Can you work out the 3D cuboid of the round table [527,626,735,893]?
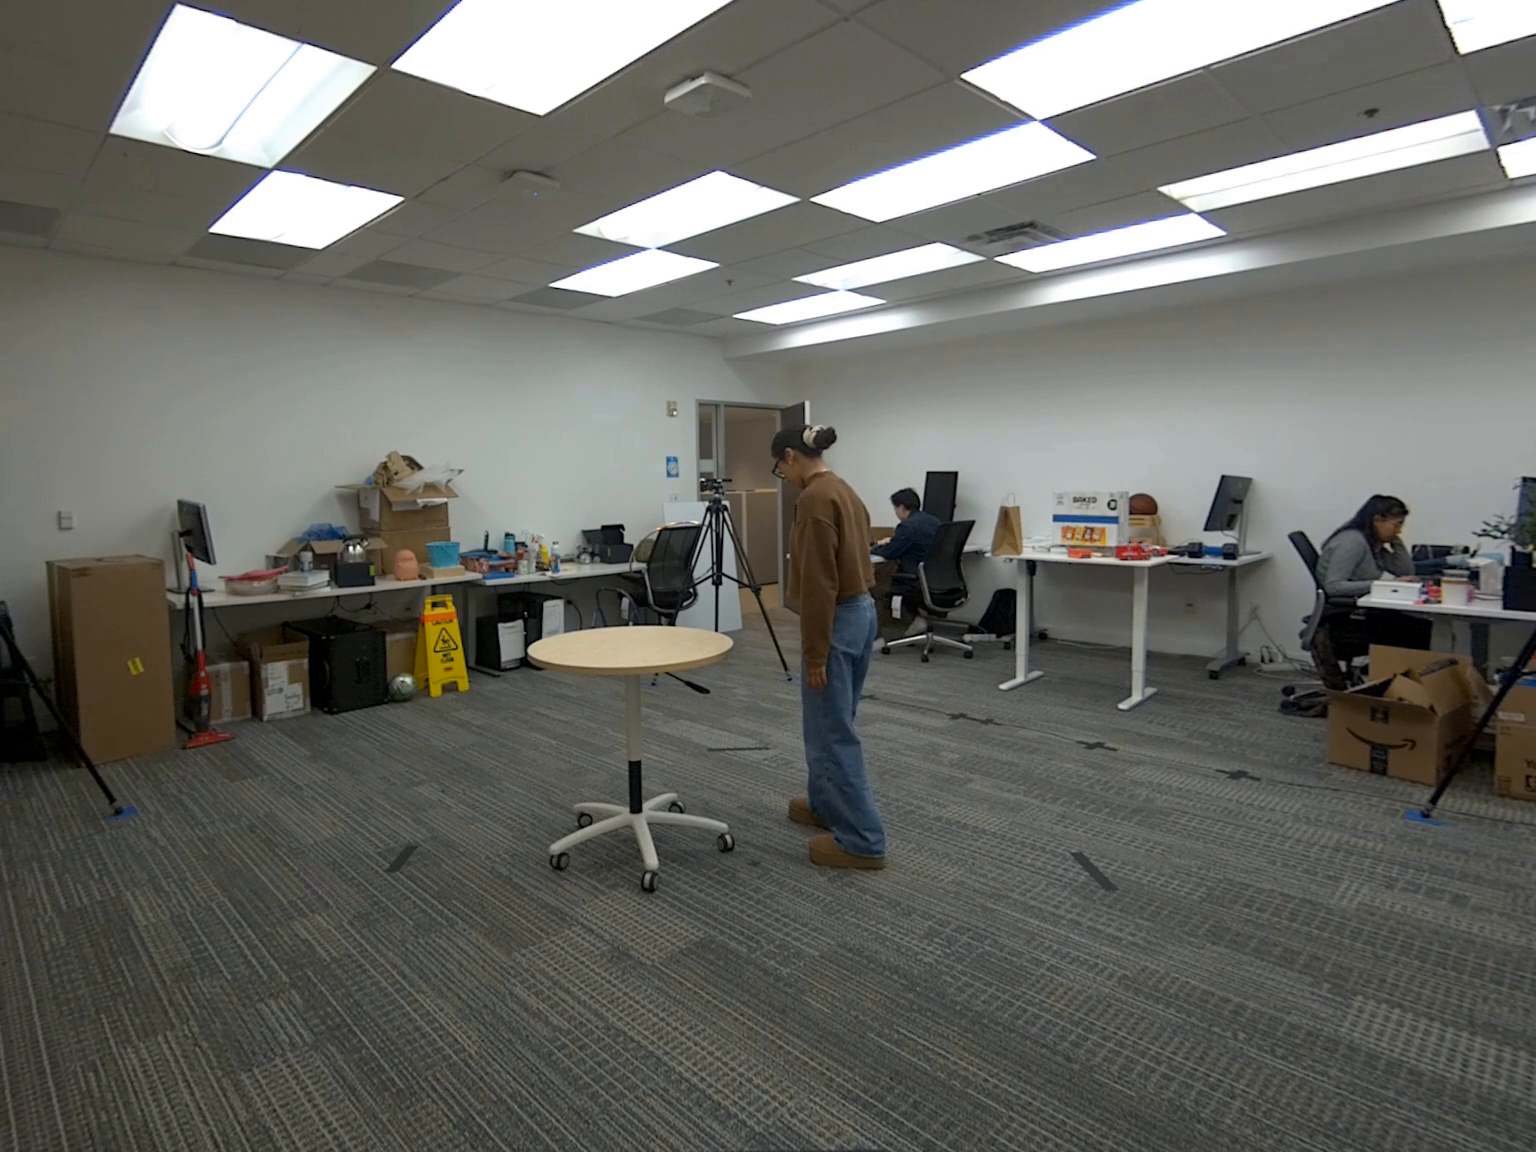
[{"bbox_3d":[-0.496,0.648,3.230,0.763,0.791,0.768,-1,5,-2],"label":"round table"}]
